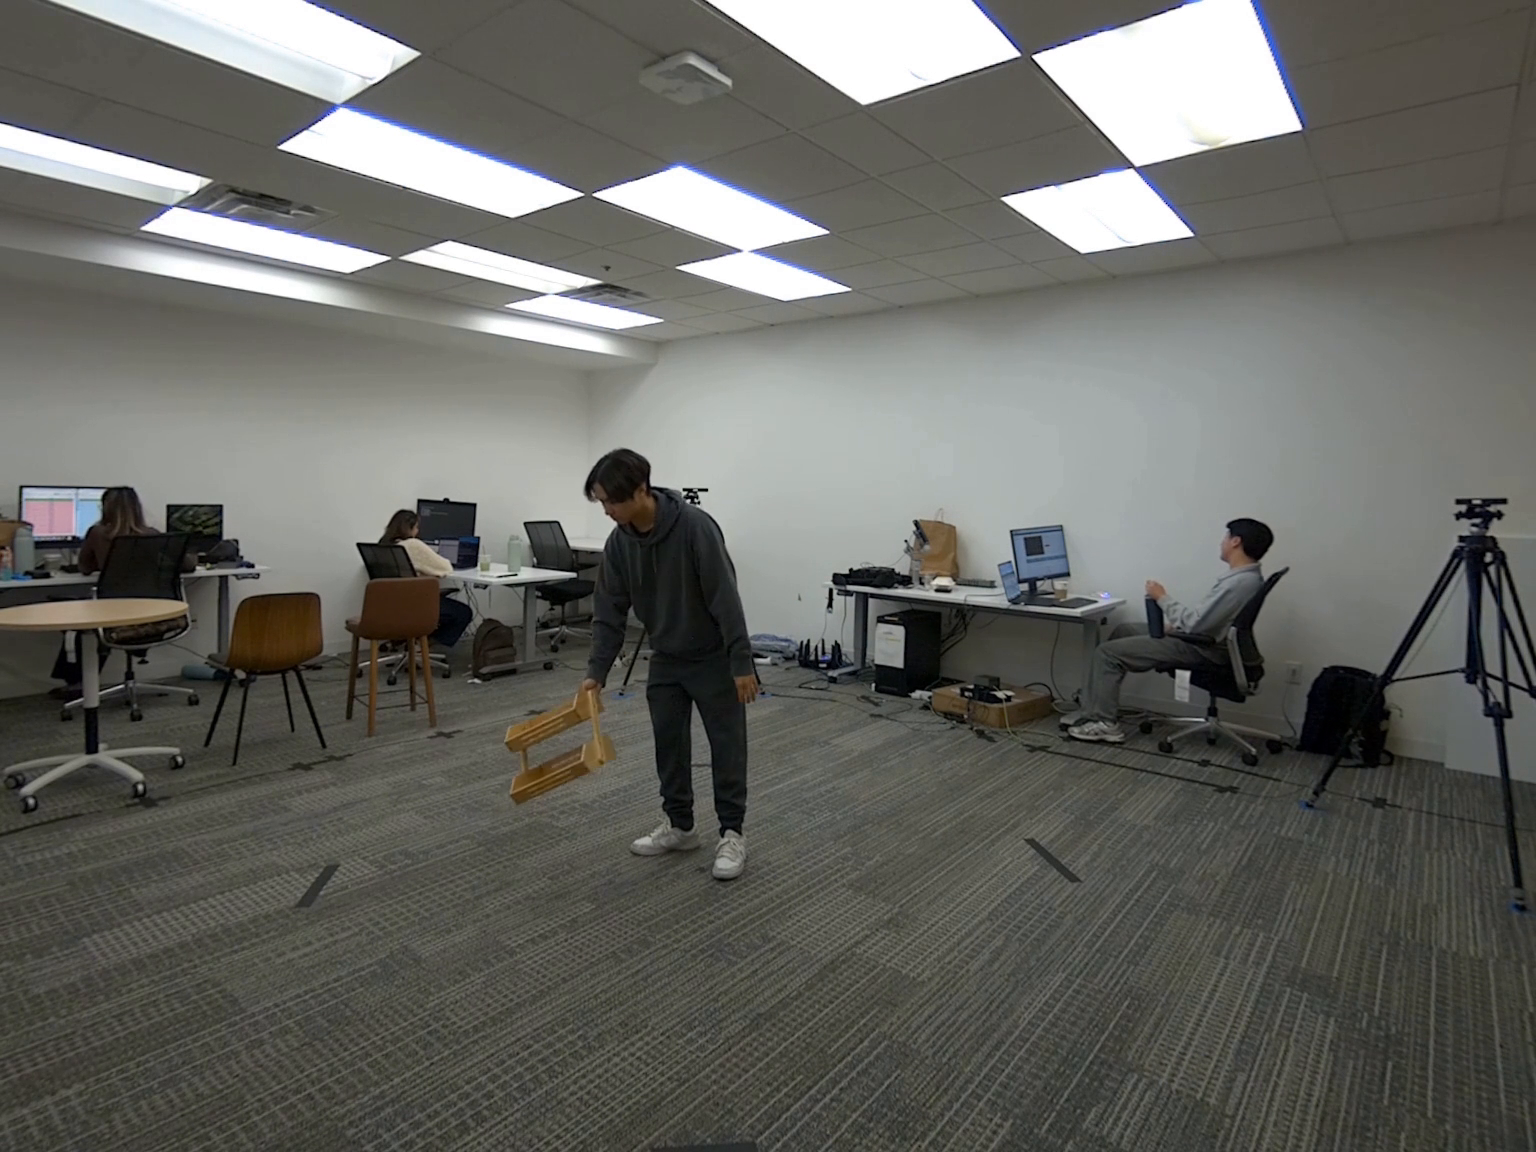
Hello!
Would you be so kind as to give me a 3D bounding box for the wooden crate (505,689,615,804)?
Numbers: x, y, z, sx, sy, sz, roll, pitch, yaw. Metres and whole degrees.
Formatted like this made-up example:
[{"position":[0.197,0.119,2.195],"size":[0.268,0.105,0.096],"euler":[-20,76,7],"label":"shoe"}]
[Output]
[{"position":[-0.764,0.591,2.987],"size":[0.326,0.276,0.297],"euler":[-27,-7,13],"label":"wooden crate"}]
